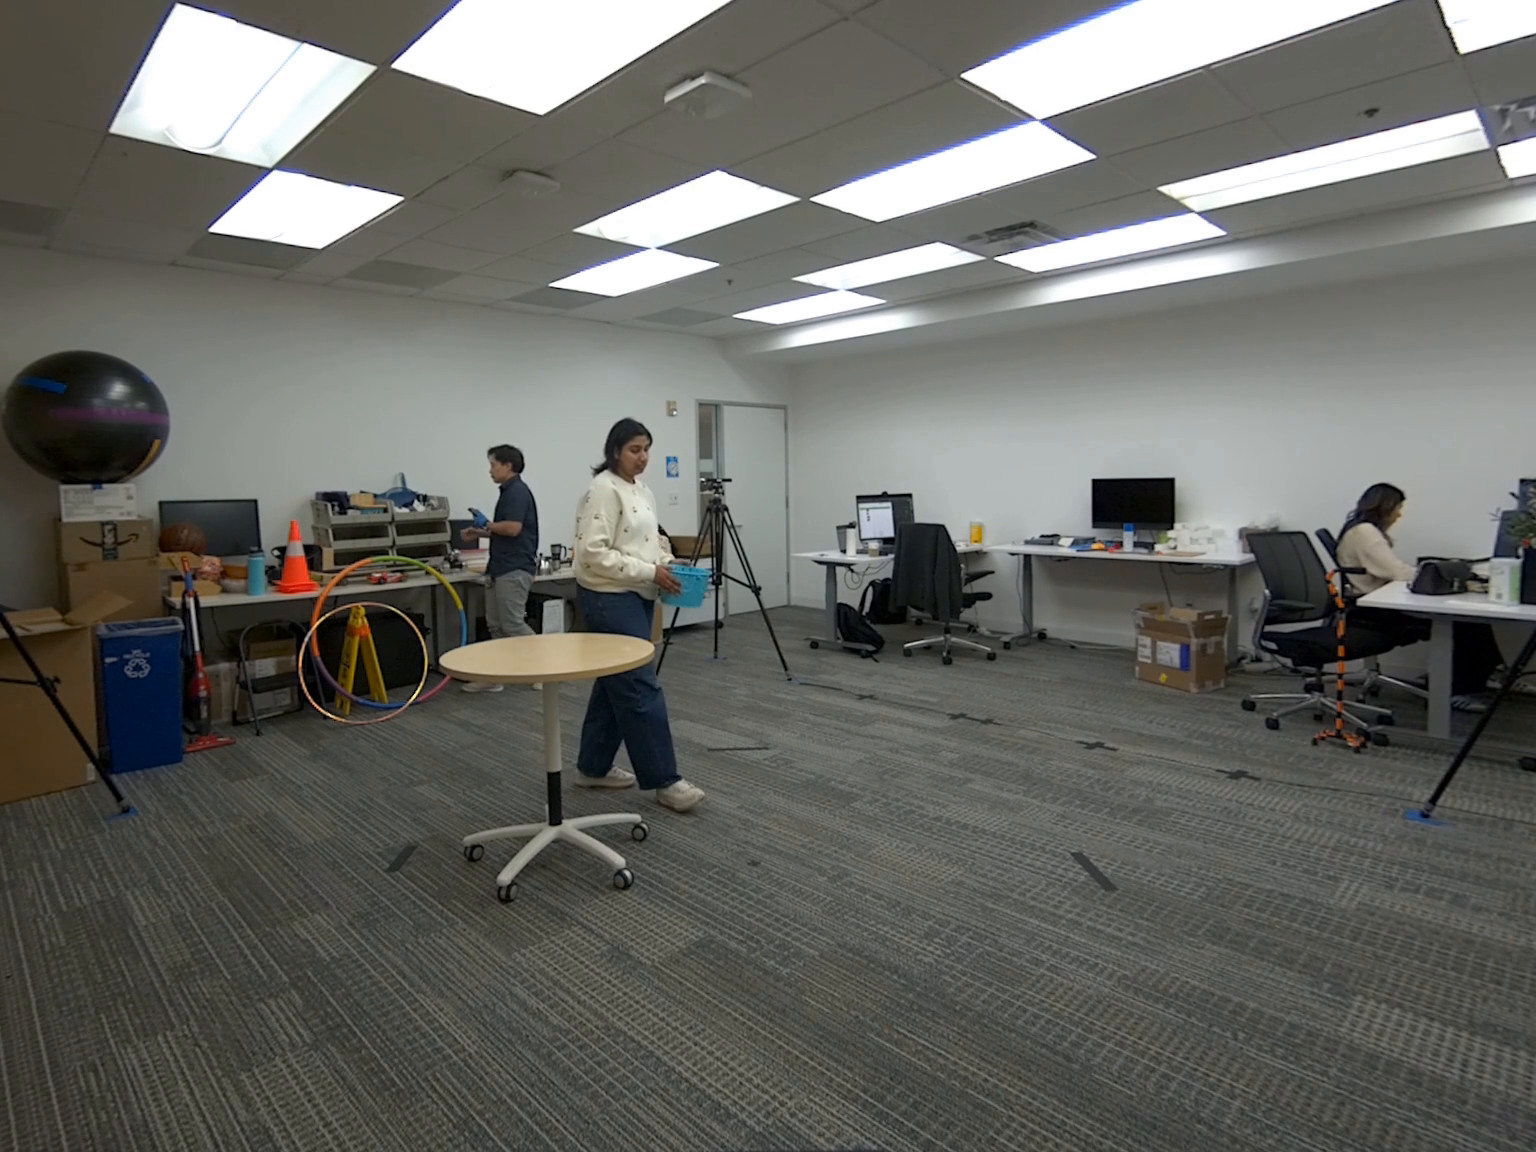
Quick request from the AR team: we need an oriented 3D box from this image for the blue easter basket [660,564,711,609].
[{"bbox_3d":[-0.368,0.044,3.736,0.243,0.155,0.245,6,6,-2],"label":"blue easter basket"}]
